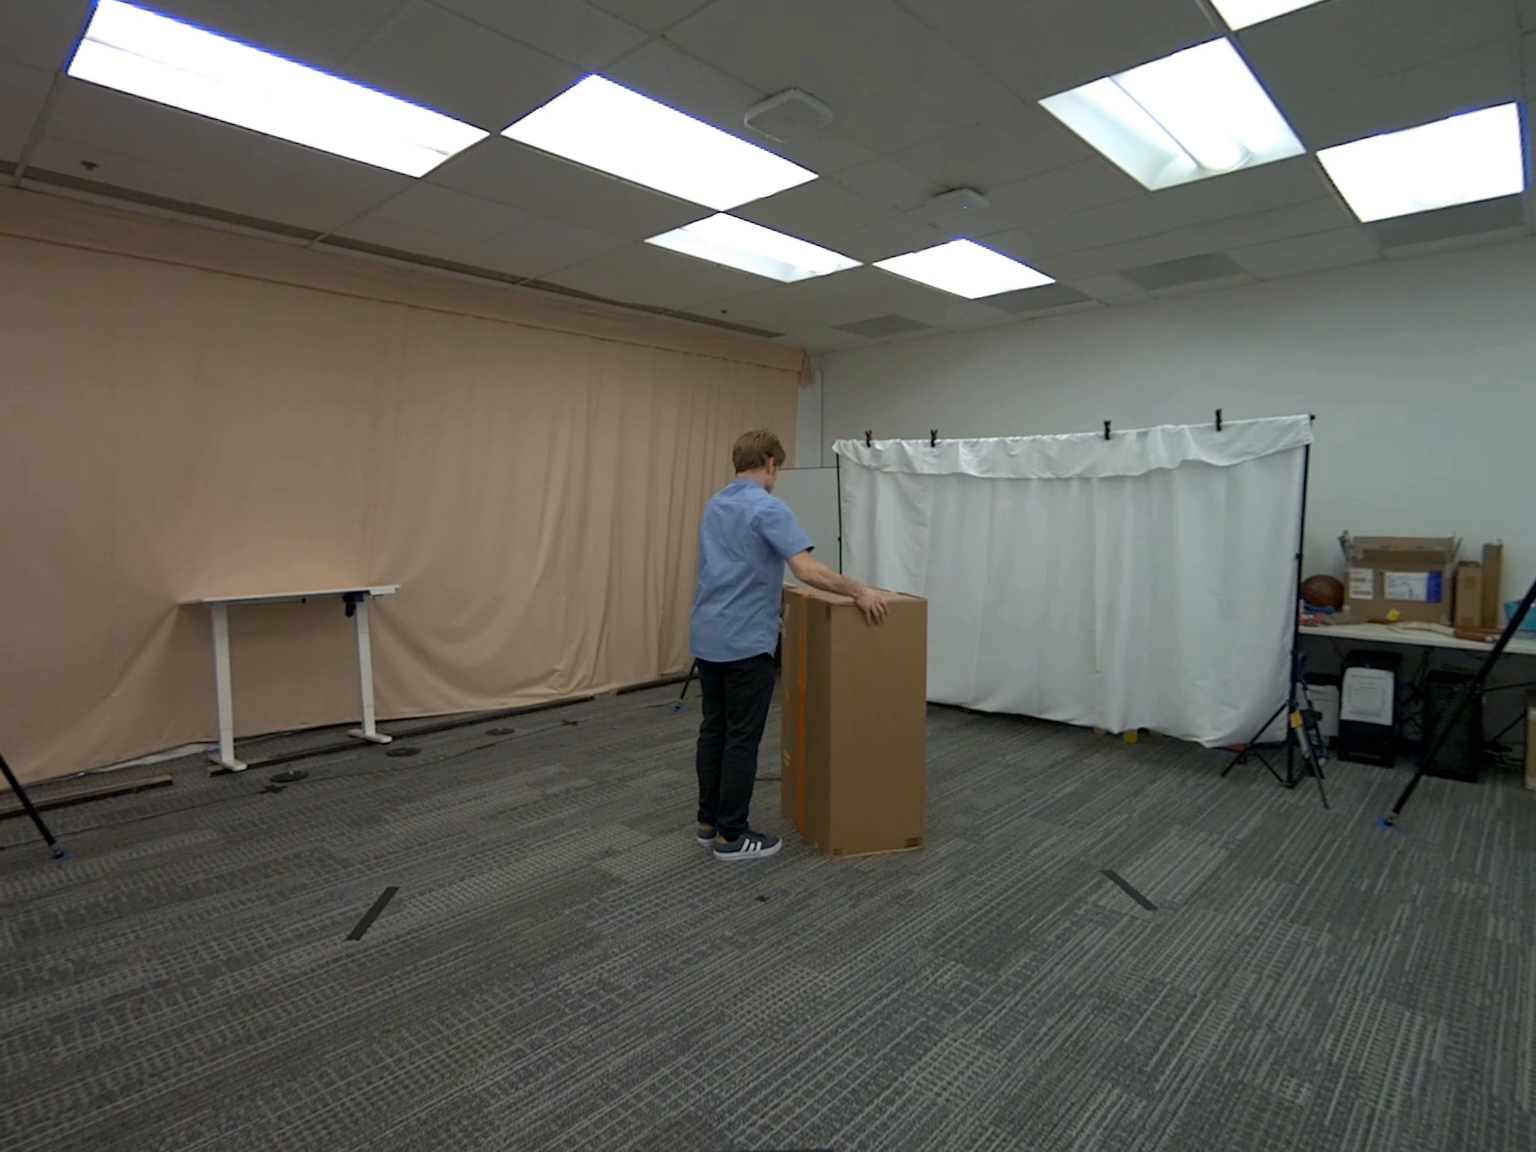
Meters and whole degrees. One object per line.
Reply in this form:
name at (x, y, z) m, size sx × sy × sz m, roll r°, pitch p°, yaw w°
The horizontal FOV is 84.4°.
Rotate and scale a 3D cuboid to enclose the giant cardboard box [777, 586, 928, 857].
giant cardboard box at (0.348, 0.584, 3.604) m, size 0.419 × 1.023 × 0.588 m, roll 0°, pitch 4°, yaw -16°
